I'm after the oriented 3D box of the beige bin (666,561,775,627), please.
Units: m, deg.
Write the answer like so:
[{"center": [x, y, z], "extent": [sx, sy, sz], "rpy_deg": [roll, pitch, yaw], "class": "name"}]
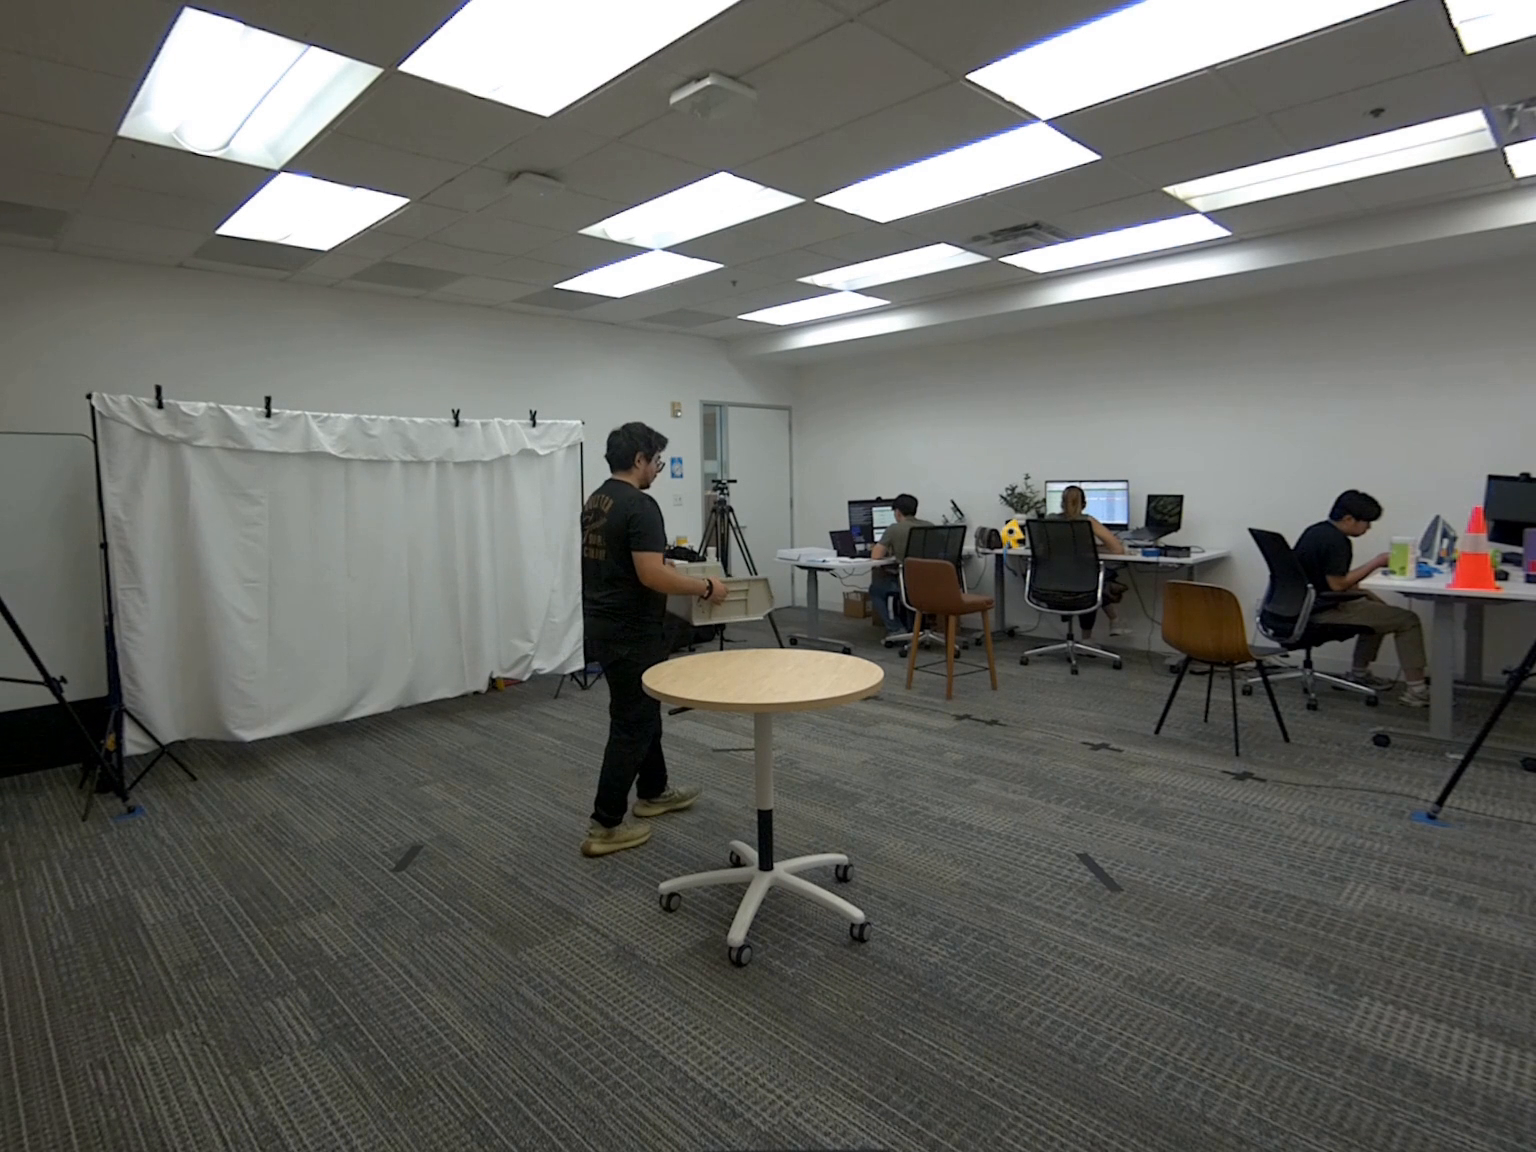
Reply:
[{"center": [-0.236, 0.061, 3.552], "extent": [0.369, 0.187, 0.435], "rpy_deg": [-5, 10, -28], "class": "beige bin"}]
